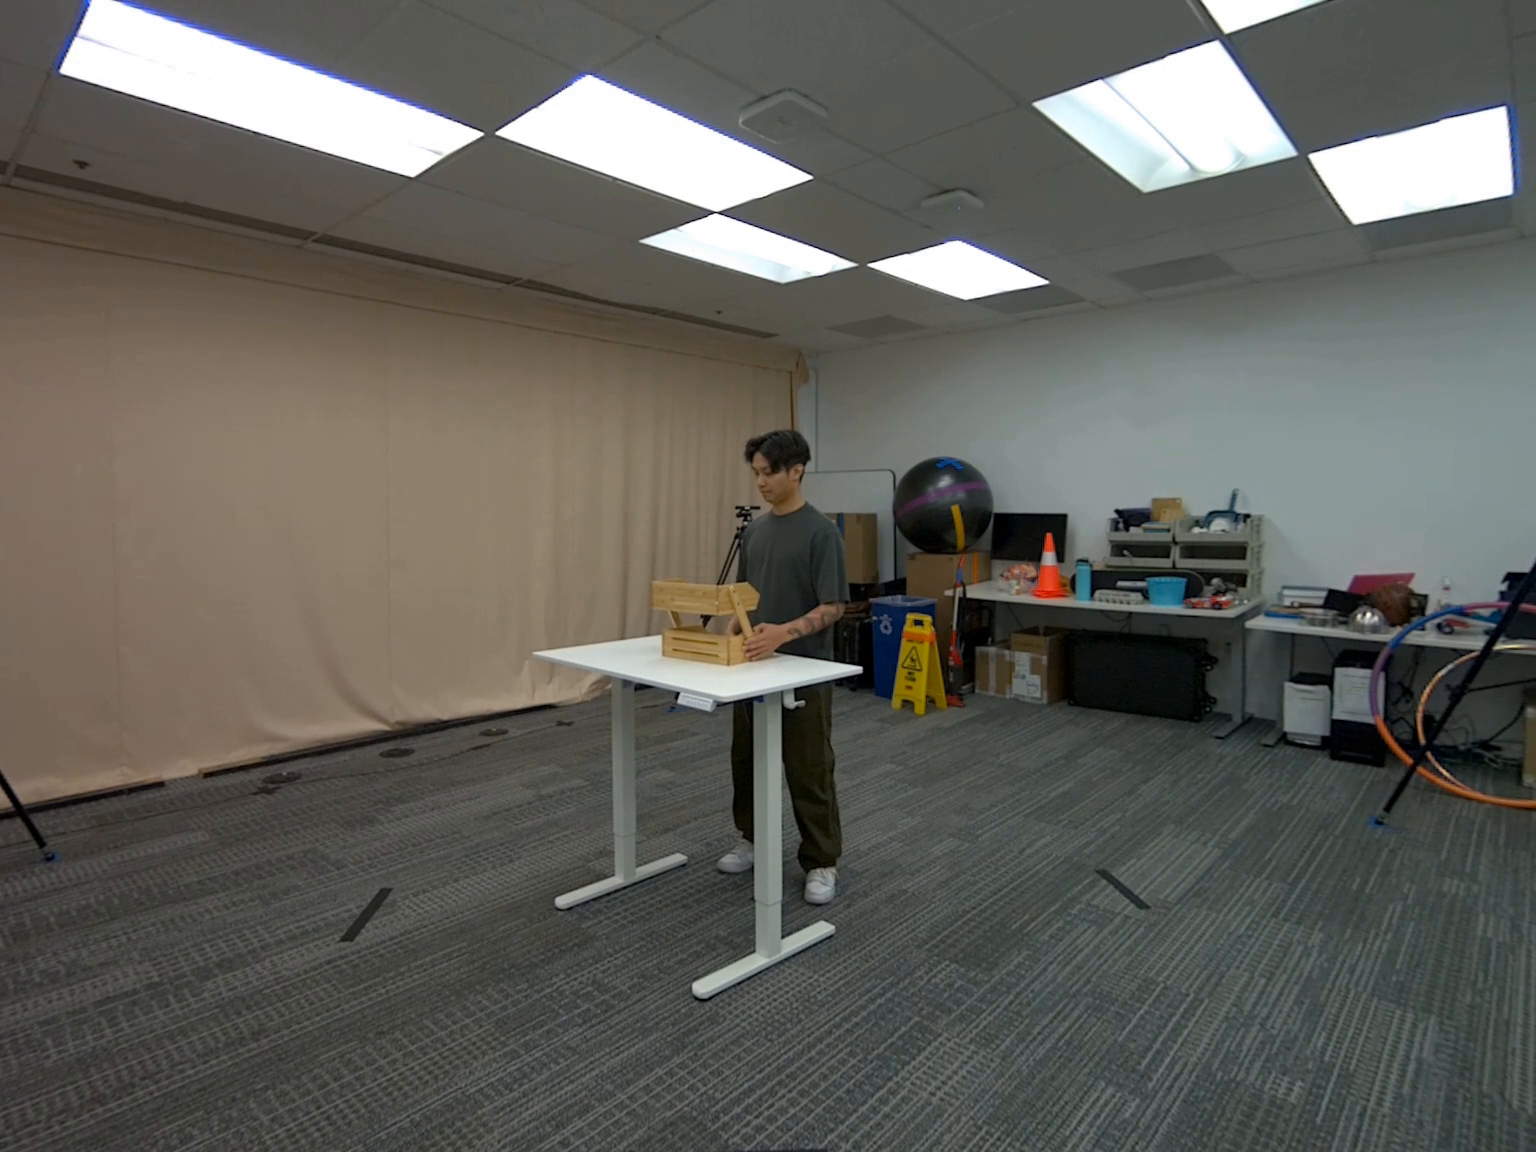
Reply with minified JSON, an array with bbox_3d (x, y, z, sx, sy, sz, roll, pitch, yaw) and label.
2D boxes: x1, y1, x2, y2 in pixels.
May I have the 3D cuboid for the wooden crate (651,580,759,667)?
[{"bbox_3d":[-0.183,0.143,2.844,0.335,0.273,0.293,2,5,38],"label":"wooden crate"}]
